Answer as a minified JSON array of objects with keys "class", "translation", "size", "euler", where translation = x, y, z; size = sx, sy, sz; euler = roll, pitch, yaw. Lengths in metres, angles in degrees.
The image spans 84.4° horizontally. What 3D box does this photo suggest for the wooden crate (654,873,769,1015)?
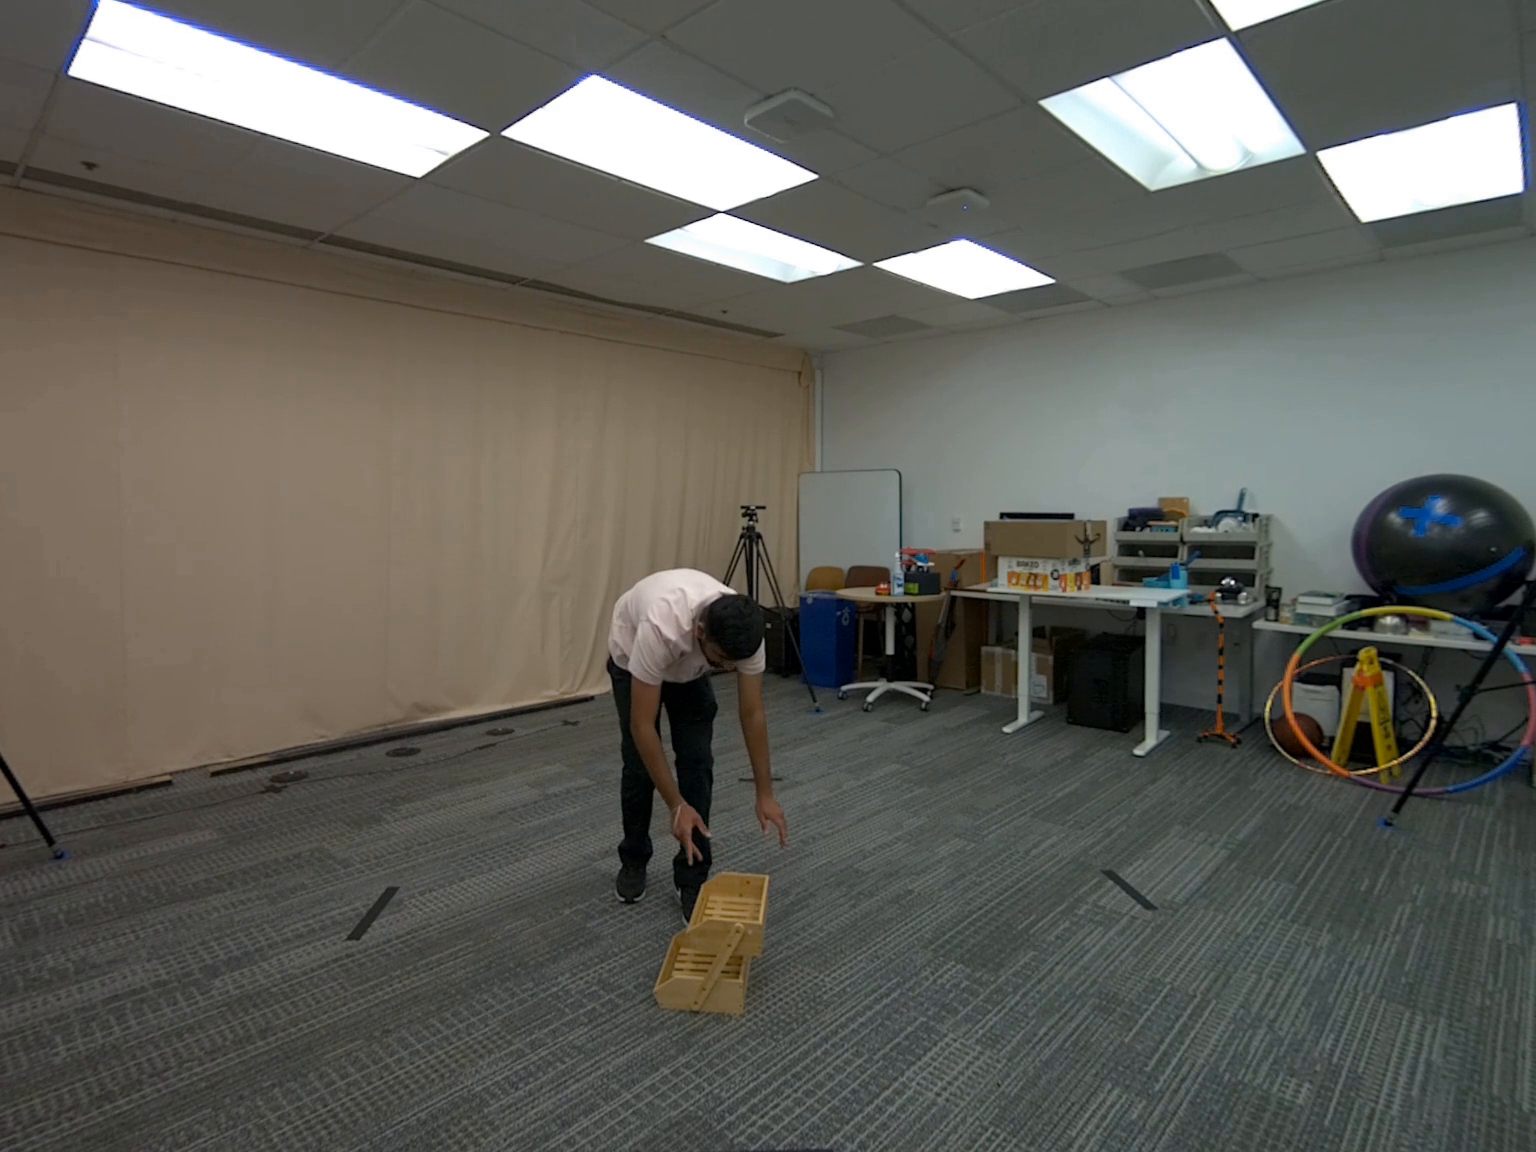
[{"class":"wooden crate","translation":[-0.157,1.055,2.453],"size":[0.304,0.273,0.323],"euler":[1,4,5]}]
